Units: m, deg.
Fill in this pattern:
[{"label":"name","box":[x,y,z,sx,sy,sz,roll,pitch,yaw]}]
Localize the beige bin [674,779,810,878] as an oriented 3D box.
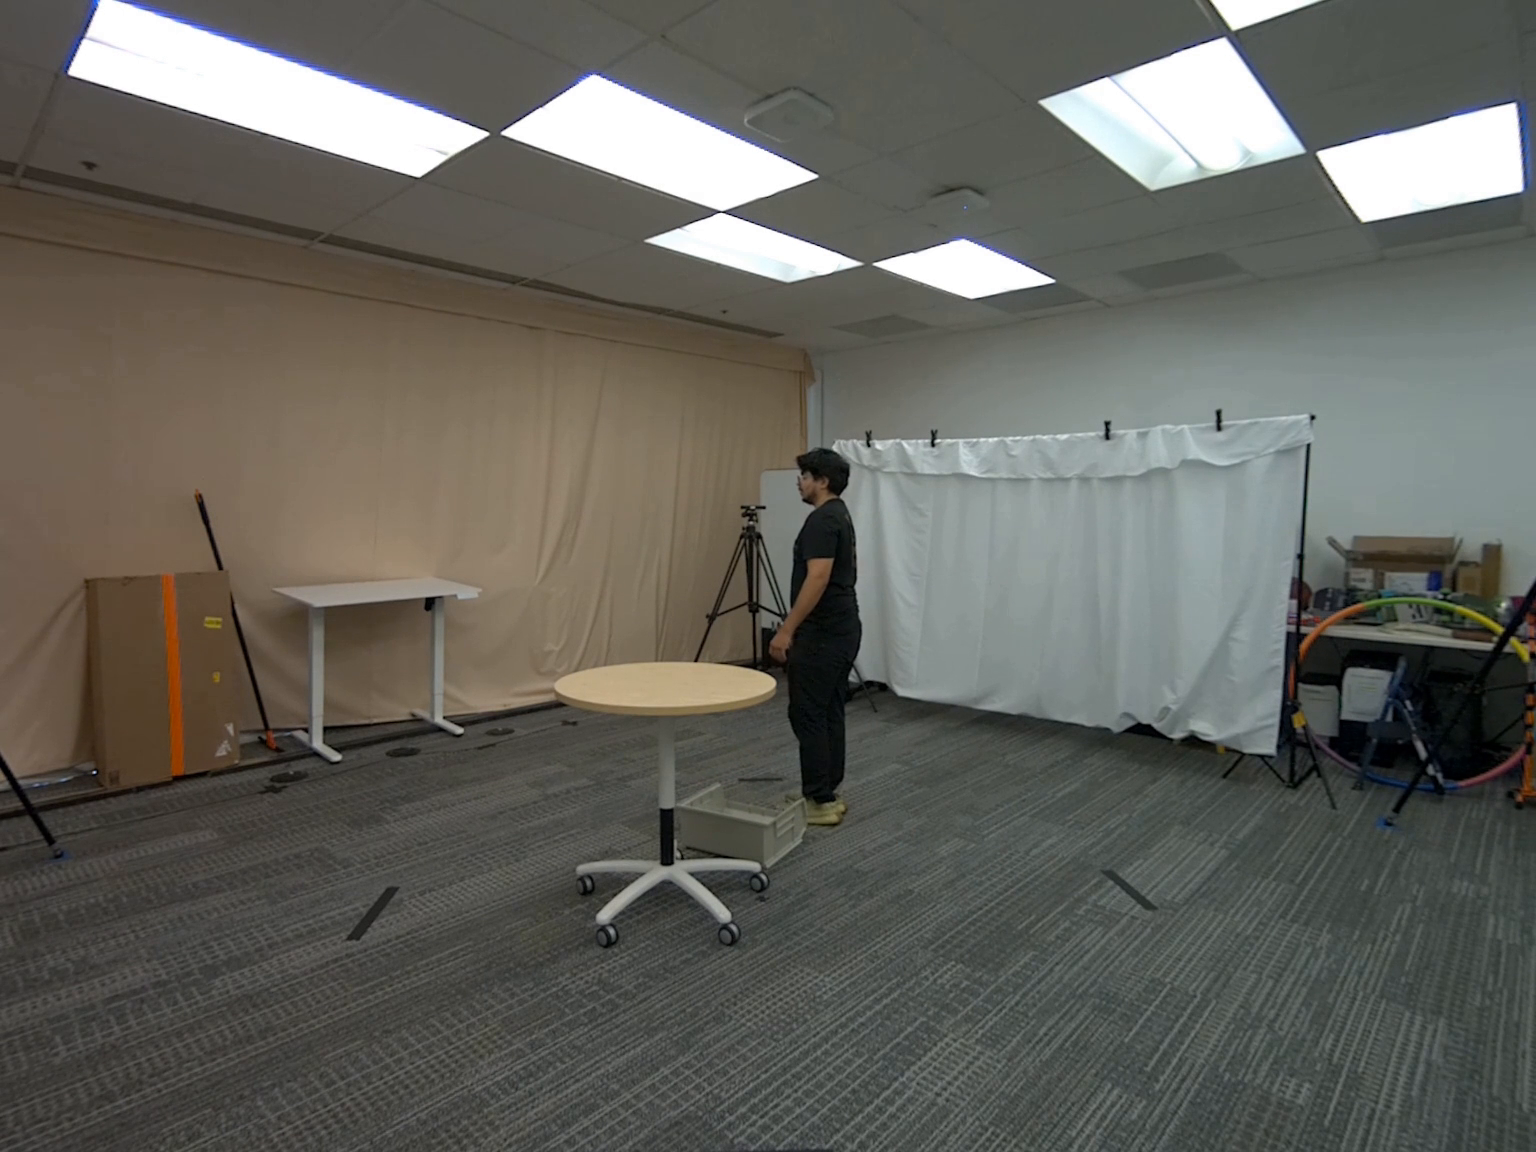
[{"label":"beige bin","box":[-0.102,1.018,3.471,0.434,0.188,0.368,3,7,29]}]
